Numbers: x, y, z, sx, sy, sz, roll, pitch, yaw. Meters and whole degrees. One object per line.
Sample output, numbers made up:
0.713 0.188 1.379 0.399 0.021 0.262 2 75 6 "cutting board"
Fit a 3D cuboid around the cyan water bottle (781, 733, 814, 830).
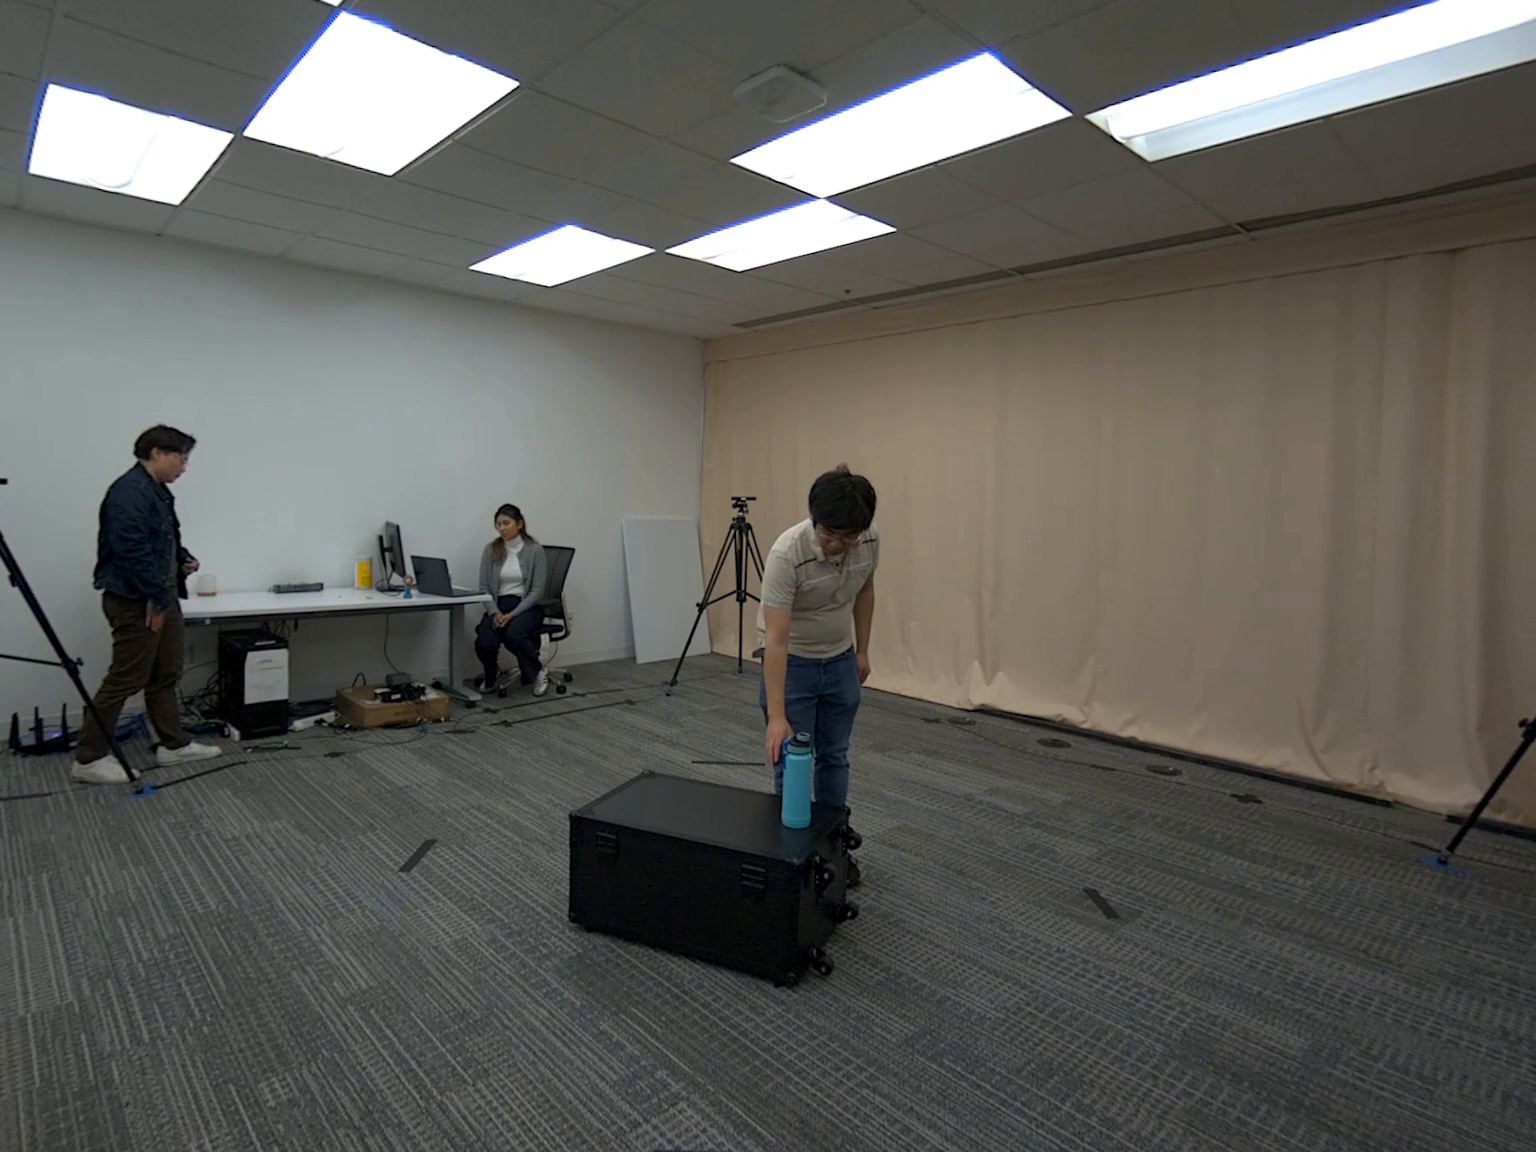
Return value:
0.081 0.640 2.638 0.092 0.283 0.092 1 2 -1 "cyan water bottle"
